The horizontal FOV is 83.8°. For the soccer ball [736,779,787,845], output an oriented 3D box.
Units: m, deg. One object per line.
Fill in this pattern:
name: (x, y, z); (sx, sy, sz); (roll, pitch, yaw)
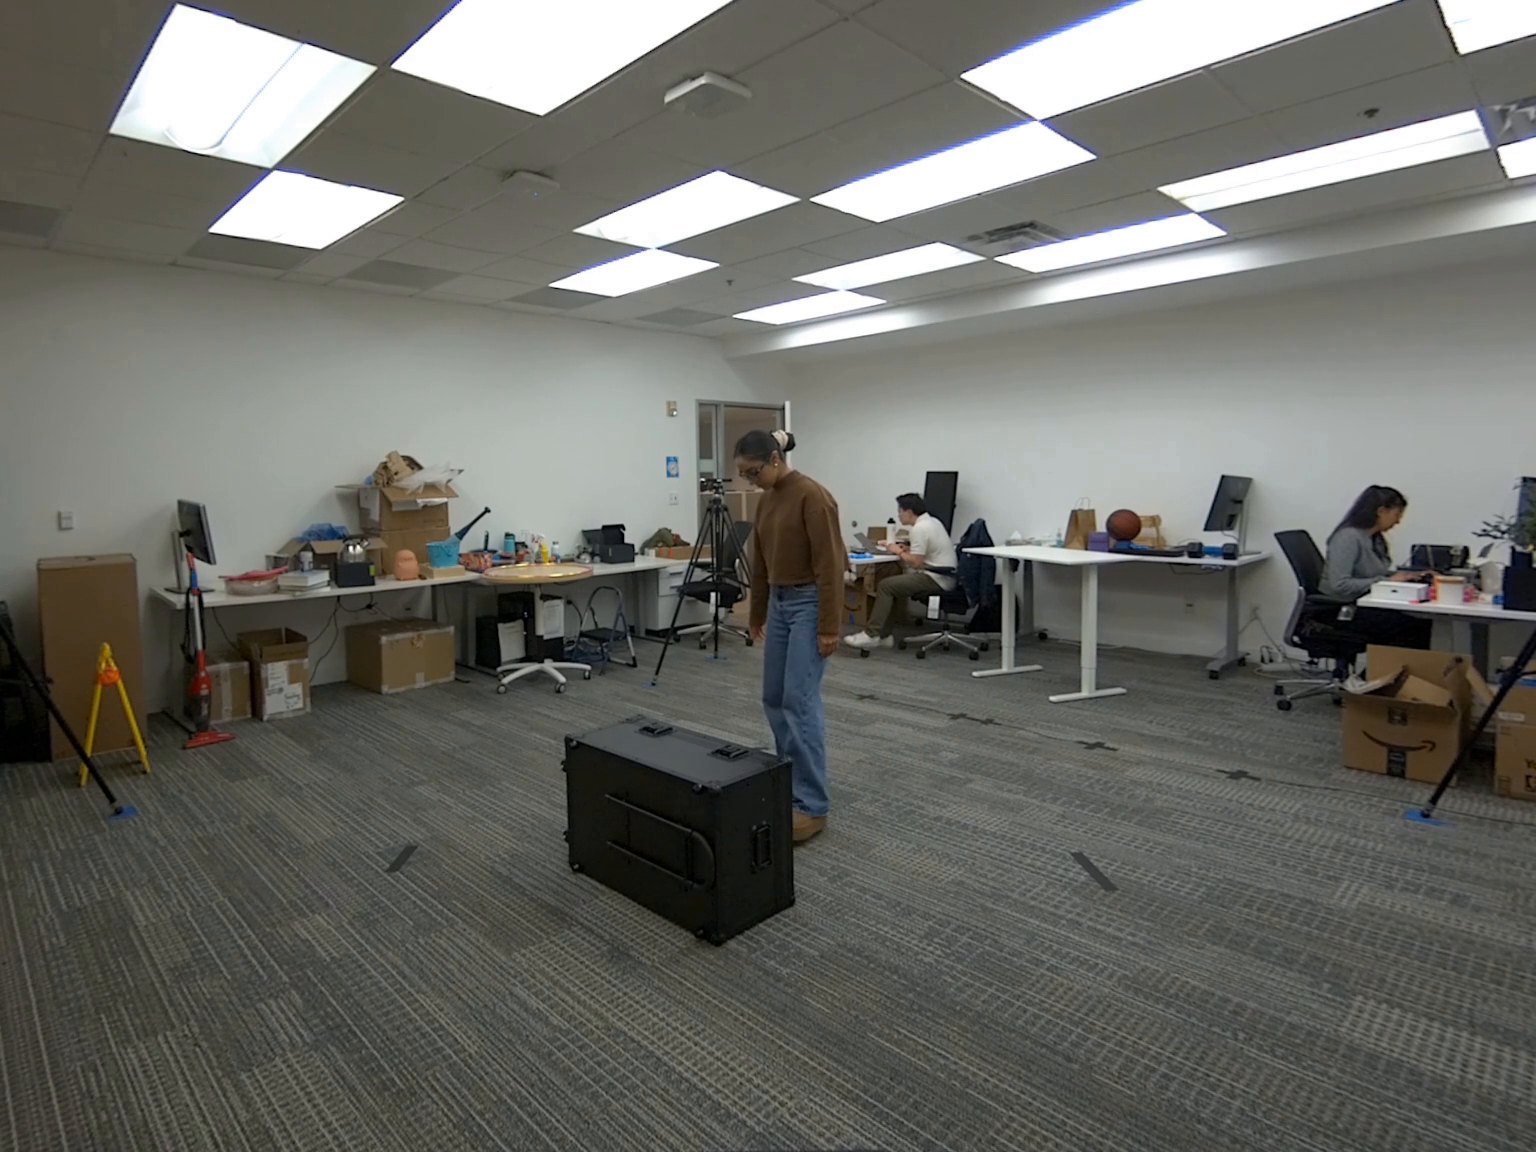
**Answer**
soccer ball: (-0.030, 0.923, 3.370); (0.187, 0.187, 0.188); (-1, 5, -2)
